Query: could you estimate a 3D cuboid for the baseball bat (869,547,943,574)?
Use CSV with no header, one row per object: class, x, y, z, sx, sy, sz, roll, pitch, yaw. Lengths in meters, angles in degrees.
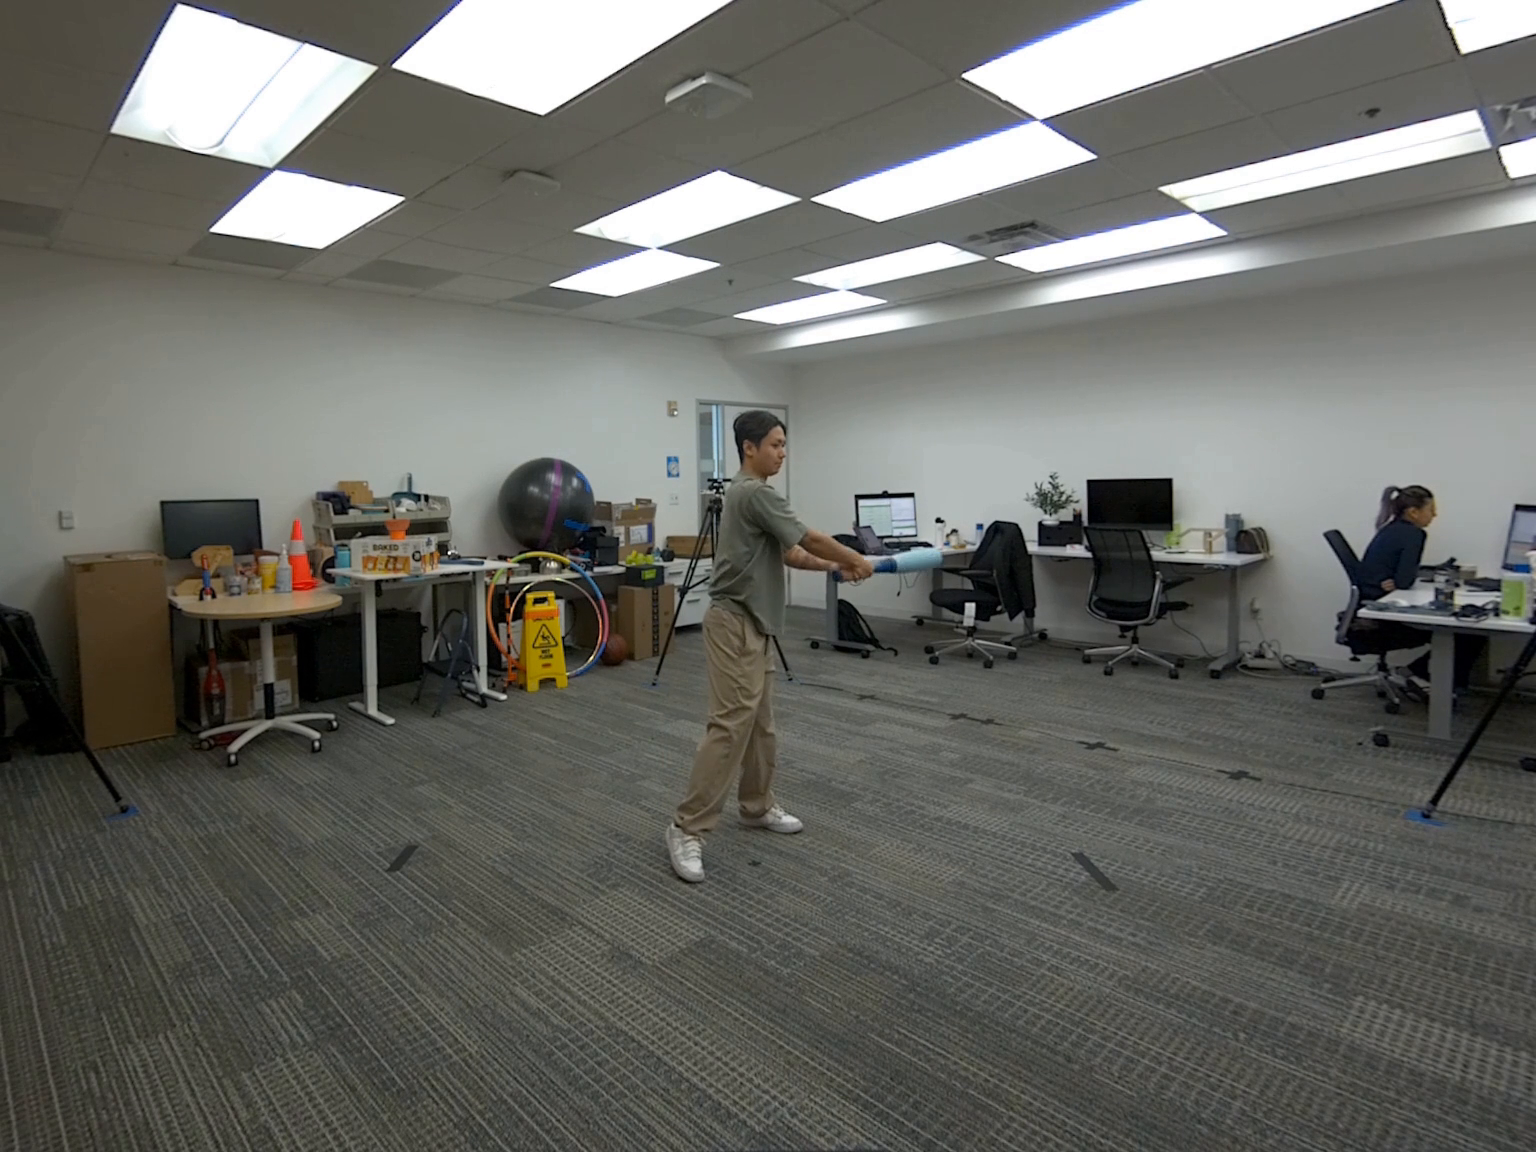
baseball bat,0.453,-0.047,3.465,0.532,0.088,0.091,-10,9,-28
